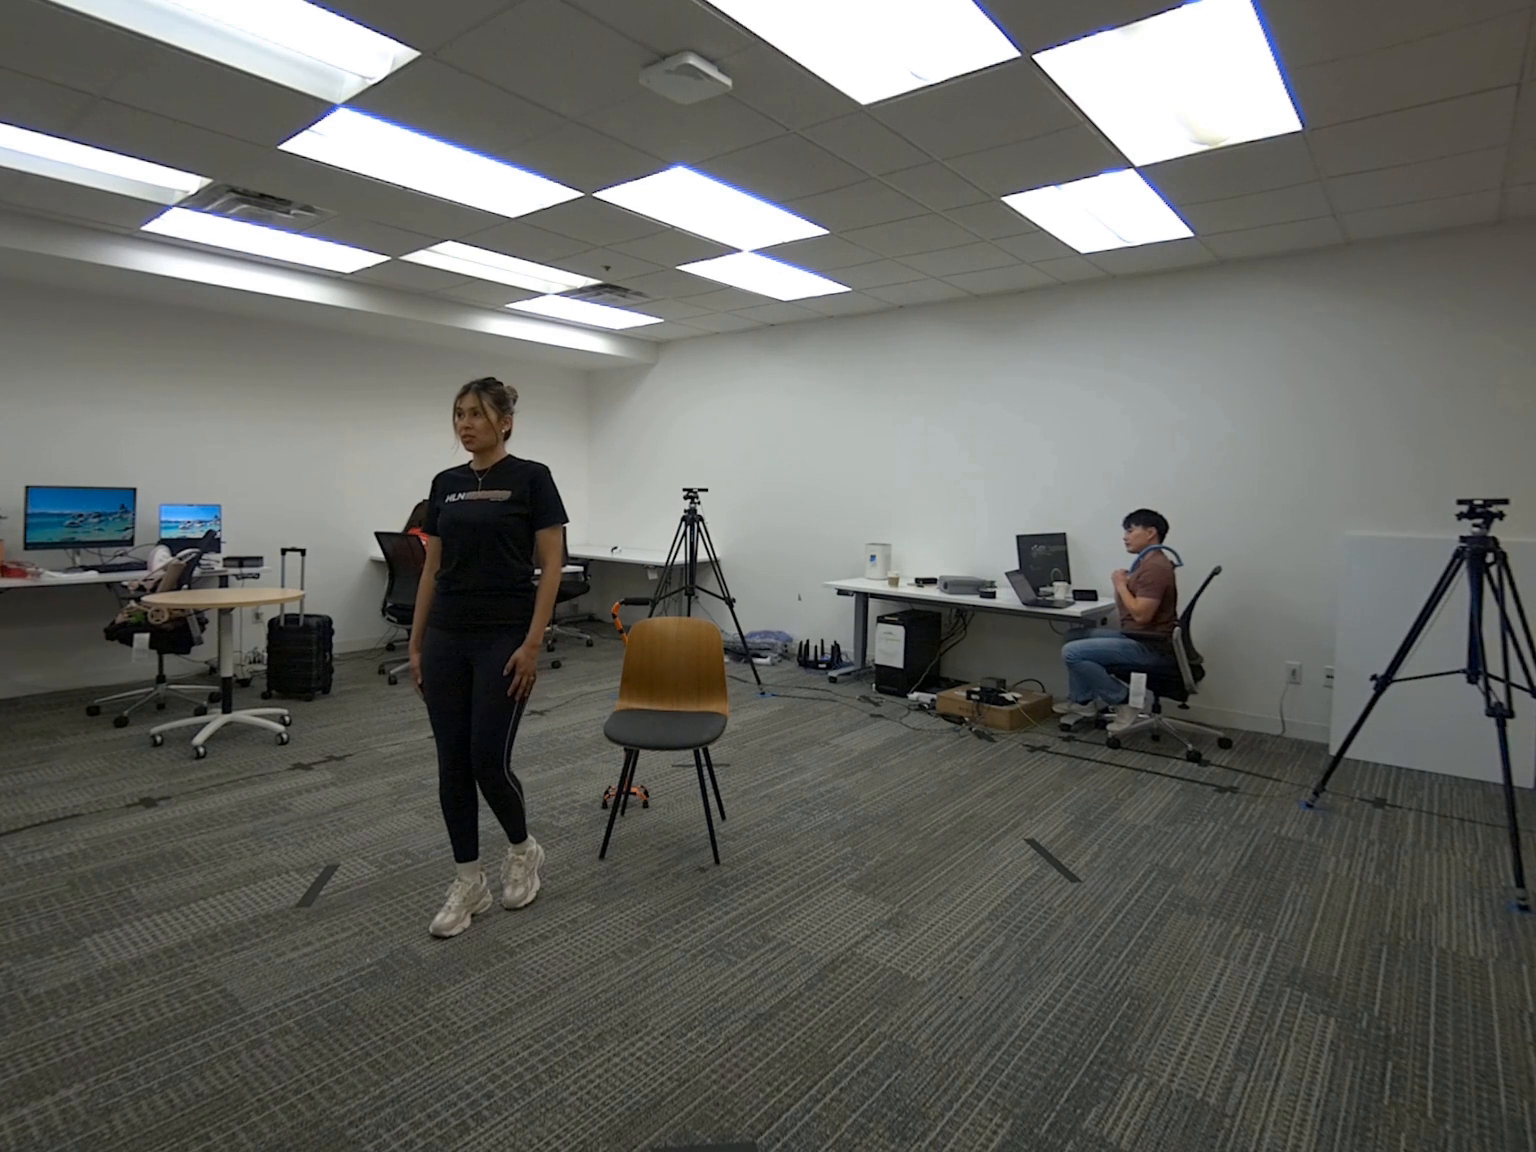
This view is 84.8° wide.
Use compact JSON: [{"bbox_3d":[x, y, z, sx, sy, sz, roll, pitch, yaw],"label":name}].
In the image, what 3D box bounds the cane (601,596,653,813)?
[{"bbox_3d":[-0.634,0.548,3.739,0.205,0.905,0.153,0,3,-5],"label":"cane"}]
